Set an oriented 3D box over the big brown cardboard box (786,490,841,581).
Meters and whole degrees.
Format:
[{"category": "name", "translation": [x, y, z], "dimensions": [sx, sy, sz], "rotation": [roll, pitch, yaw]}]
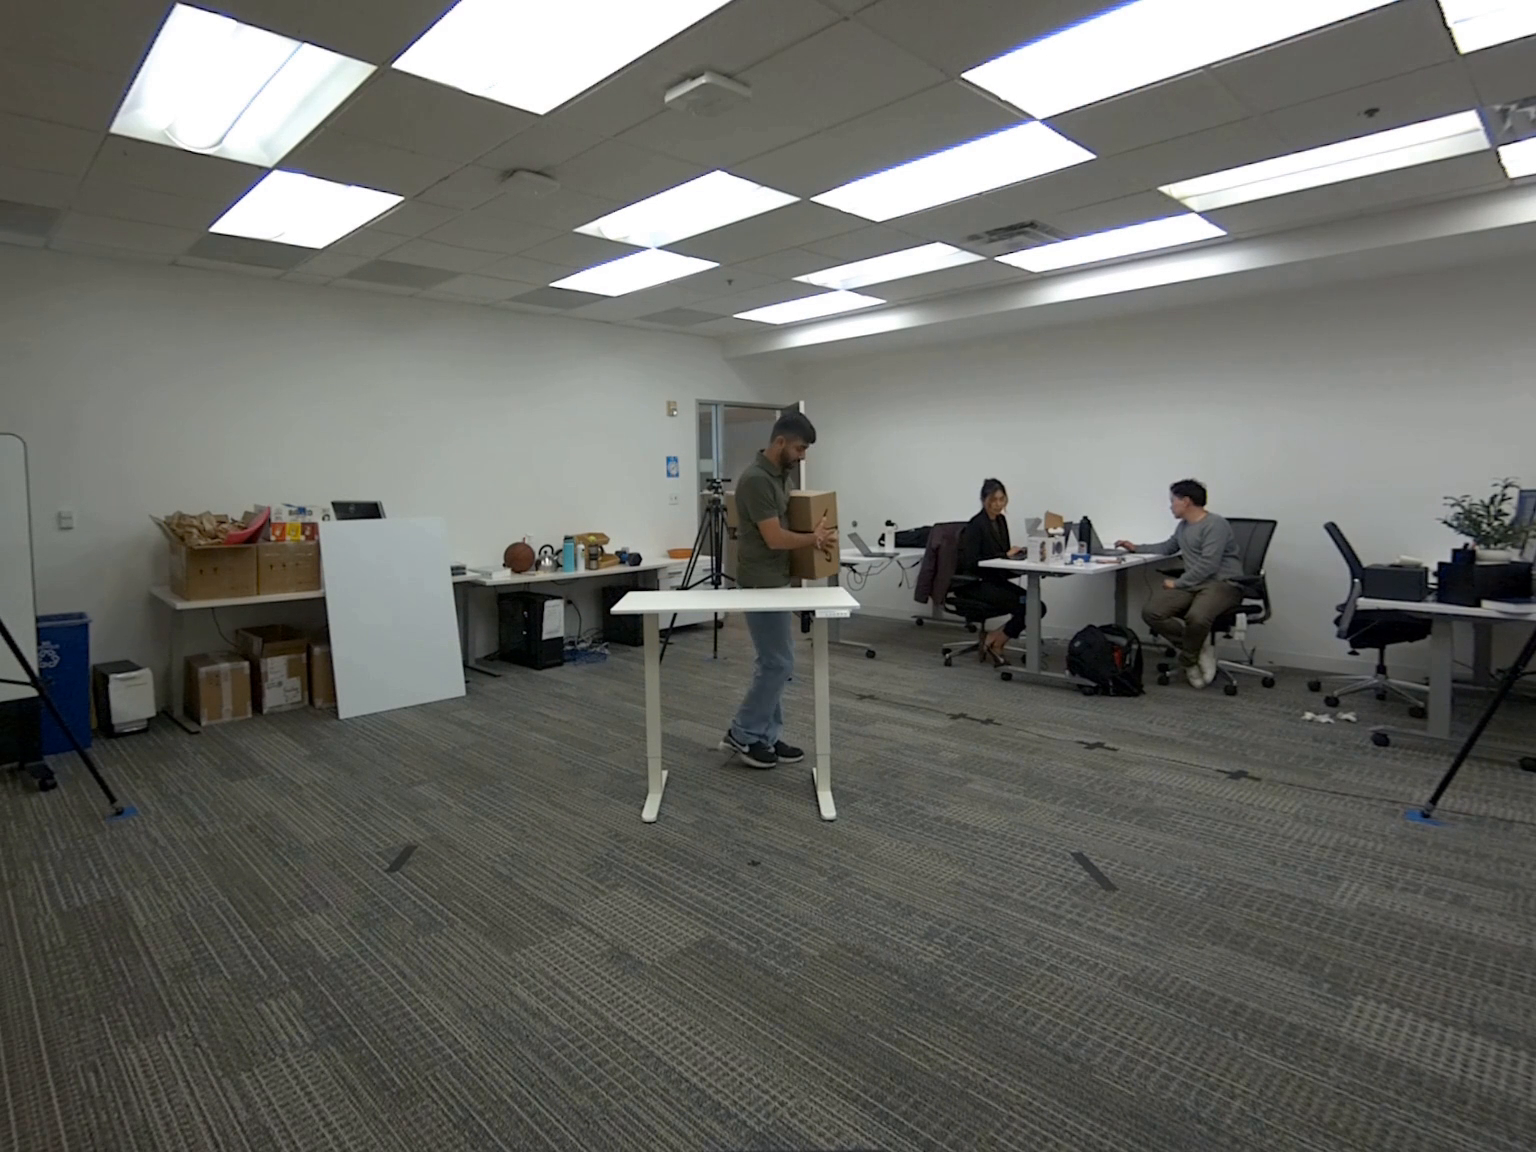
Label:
[{"category": "big brown cardboard box", "translation": [0.080, -0.224, 4.412], "dimensions": [0.608, 0.414, 0.228], "rotation": [7, 14, 43]}]
